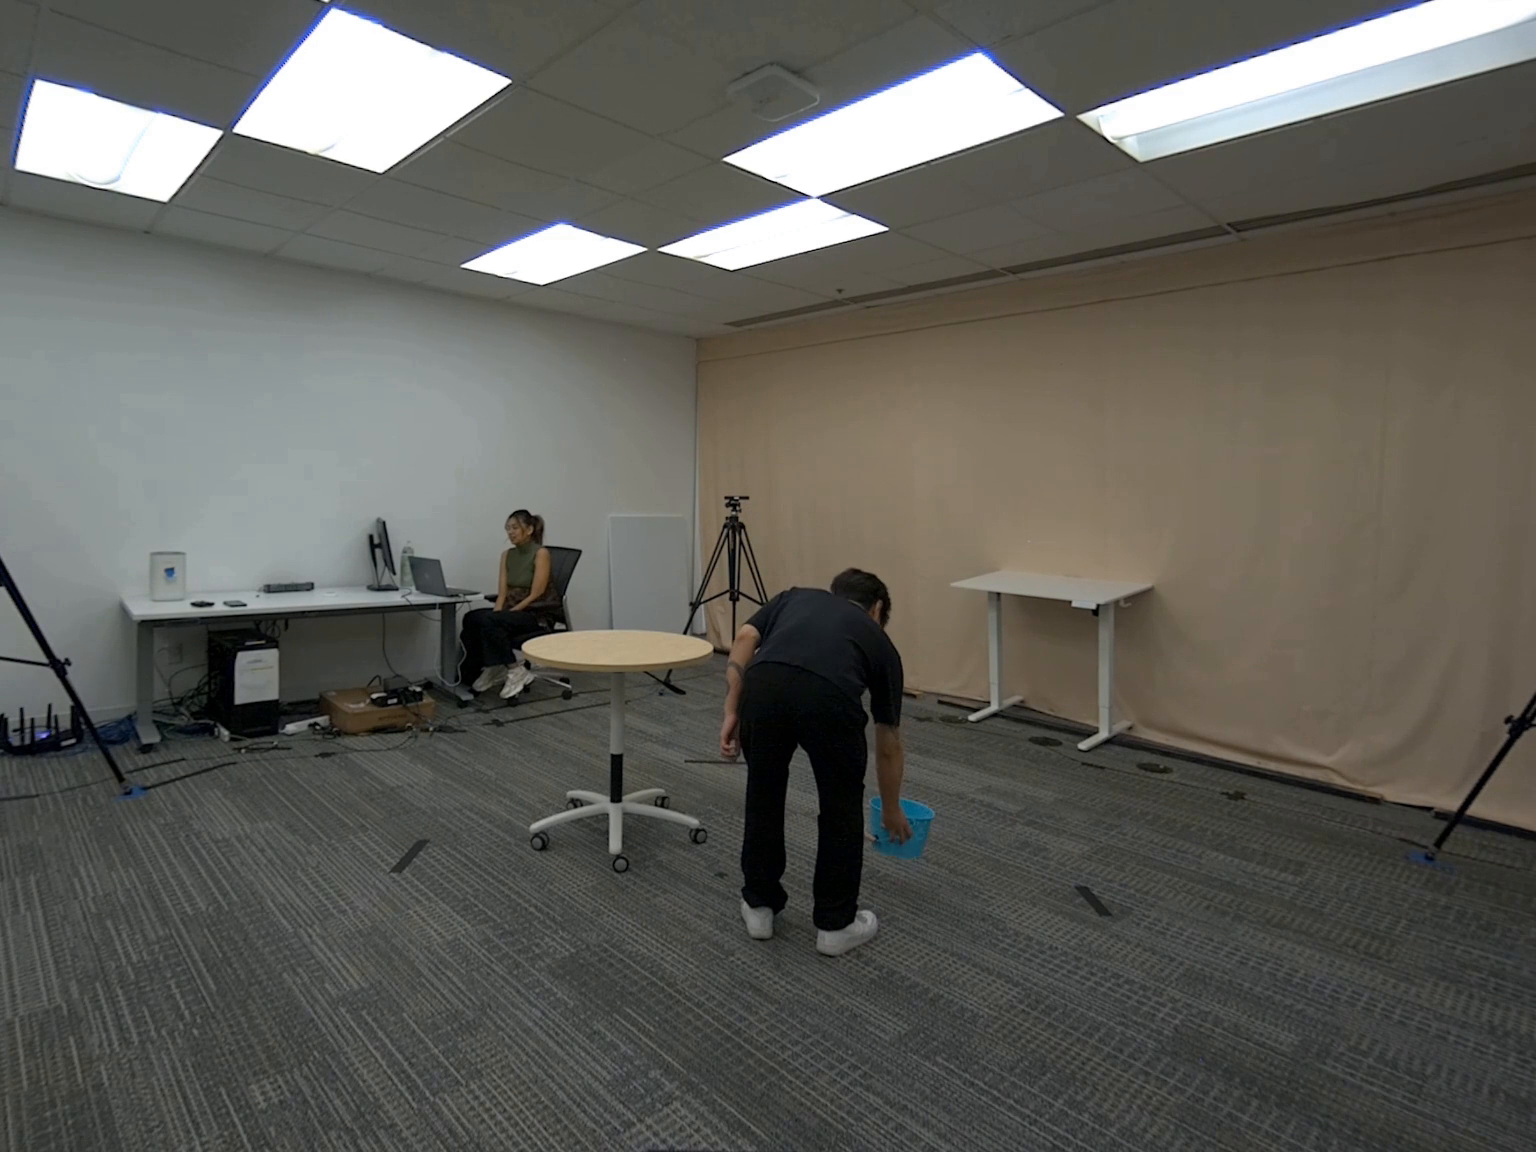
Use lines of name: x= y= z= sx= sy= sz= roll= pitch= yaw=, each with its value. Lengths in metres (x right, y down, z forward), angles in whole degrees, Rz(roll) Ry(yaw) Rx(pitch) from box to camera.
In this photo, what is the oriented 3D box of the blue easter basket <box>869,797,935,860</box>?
blue easter basket: x=0.463 y=0.904 z=3.026 sx=0.243 sy=0.156 sz=0.244 roll=7 pitch=1 yaw=-1
